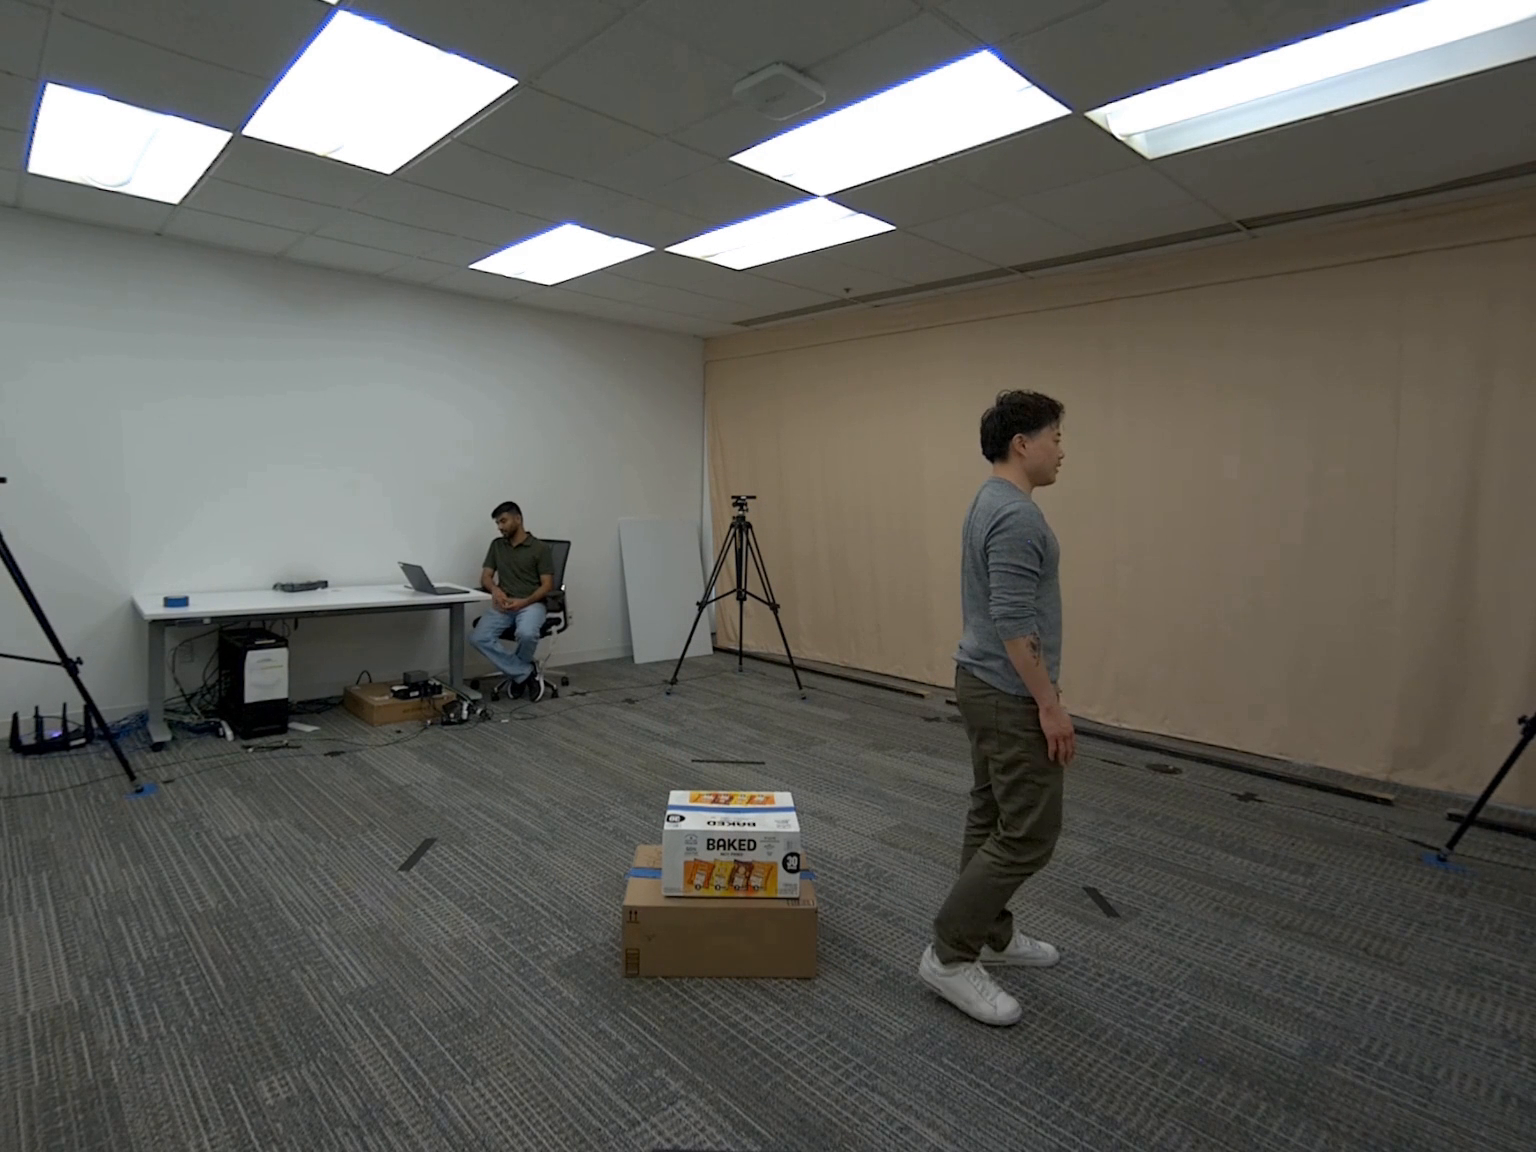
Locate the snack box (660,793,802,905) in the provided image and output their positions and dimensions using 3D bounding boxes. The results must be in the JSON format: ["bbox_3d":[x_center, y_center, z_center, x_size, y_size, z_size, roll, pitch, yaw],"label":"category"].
[{"bbox_3d":[-0.119,0.833,2.621,0.405,0.205,0.341,1,4,-2],"label":"snack box"}]
